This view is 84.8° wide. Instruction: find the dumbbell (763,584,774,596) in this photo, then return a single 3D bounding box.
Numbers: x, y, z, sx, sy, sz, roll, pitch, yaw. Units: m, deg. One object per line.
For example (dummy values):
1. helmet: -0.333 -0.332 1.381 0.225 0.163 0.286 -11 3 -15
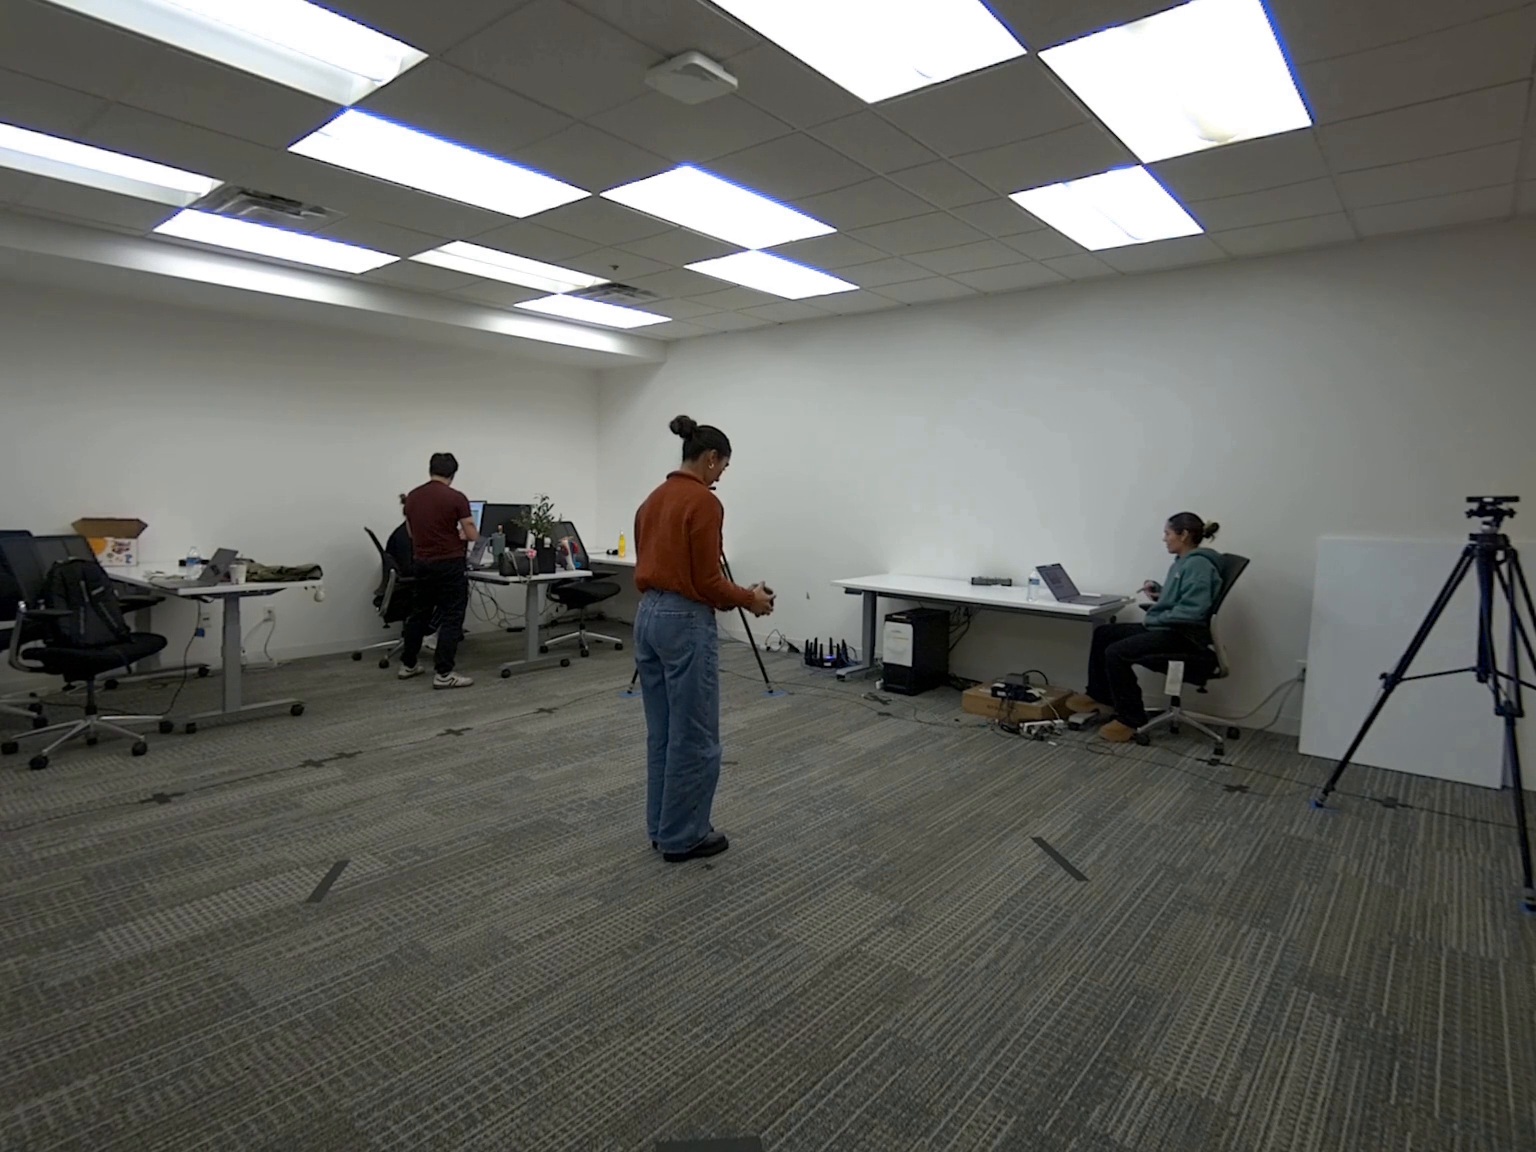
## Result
1. dumbbell: -0.122 0.082 3.366 0.119 0.109 0.302 28 -11 -30
